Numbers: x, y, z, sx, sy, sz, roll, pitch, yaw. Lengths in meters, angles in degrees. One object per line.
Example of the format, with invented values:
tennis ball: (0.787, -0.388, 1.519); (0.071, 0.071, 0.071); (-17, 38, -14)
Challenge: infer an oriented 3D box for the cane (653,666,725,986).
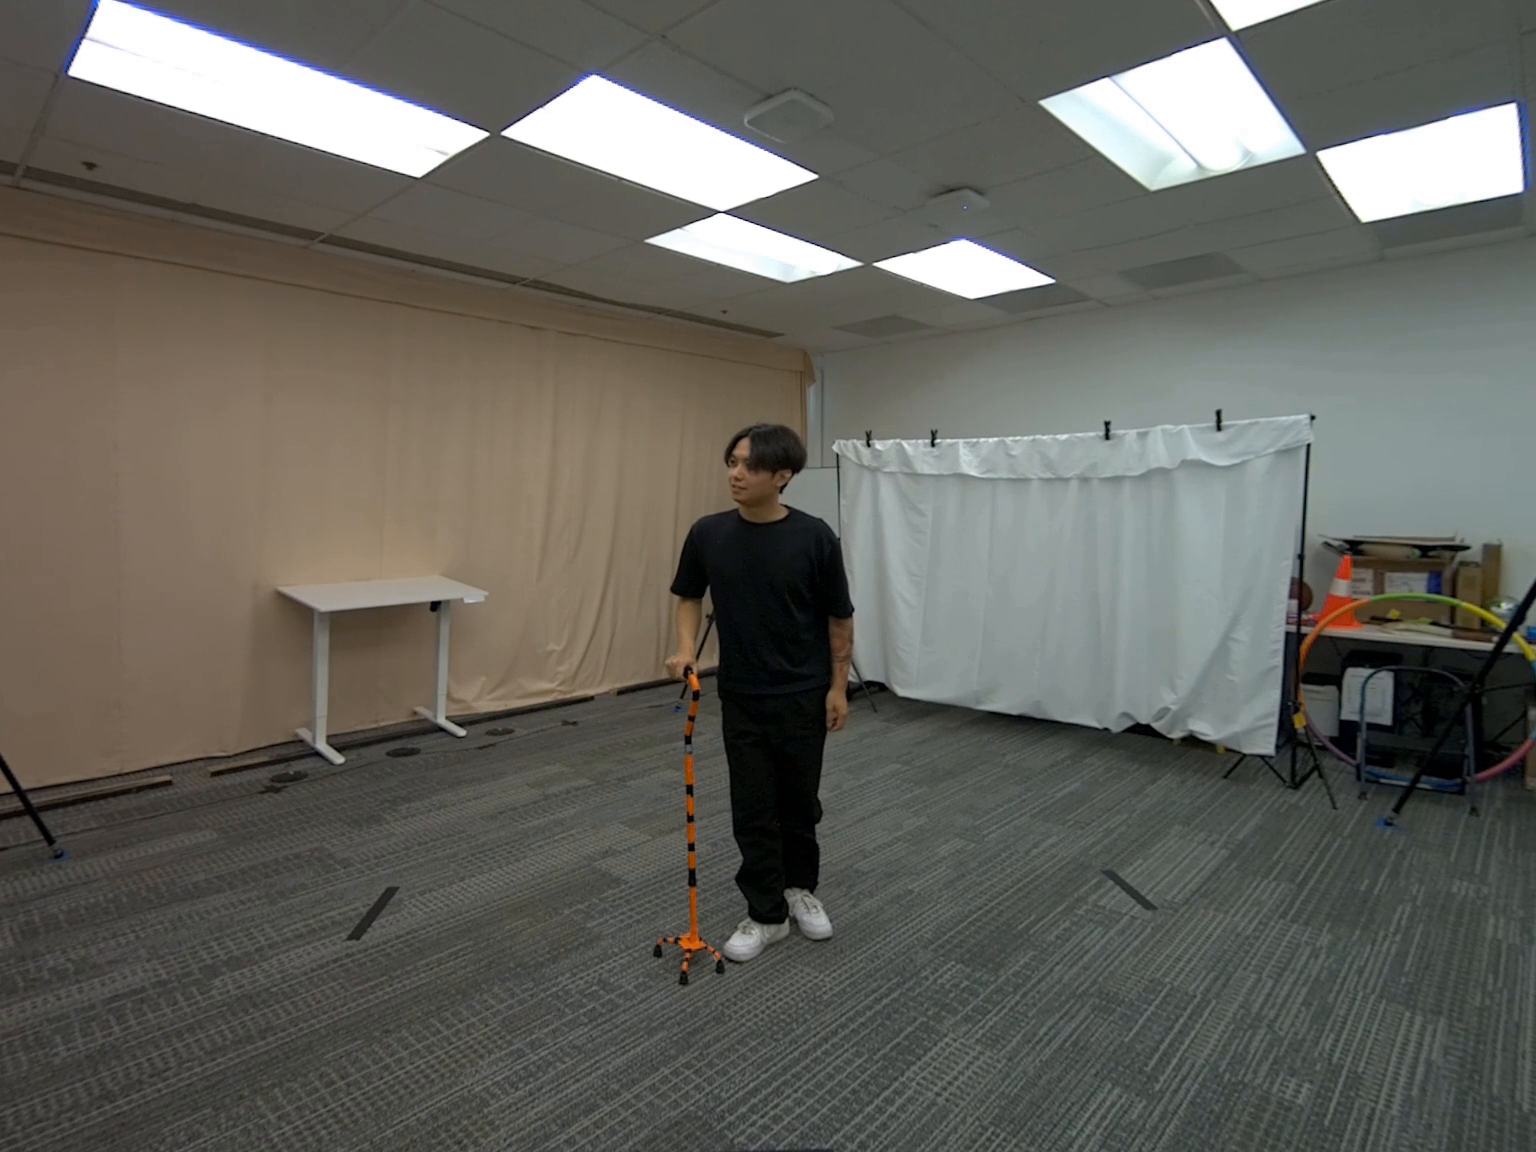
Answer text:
cane: (-0.249, 0.730, 2.535); (0.147, 0.905, 0.213); (-4, 5, -34)
